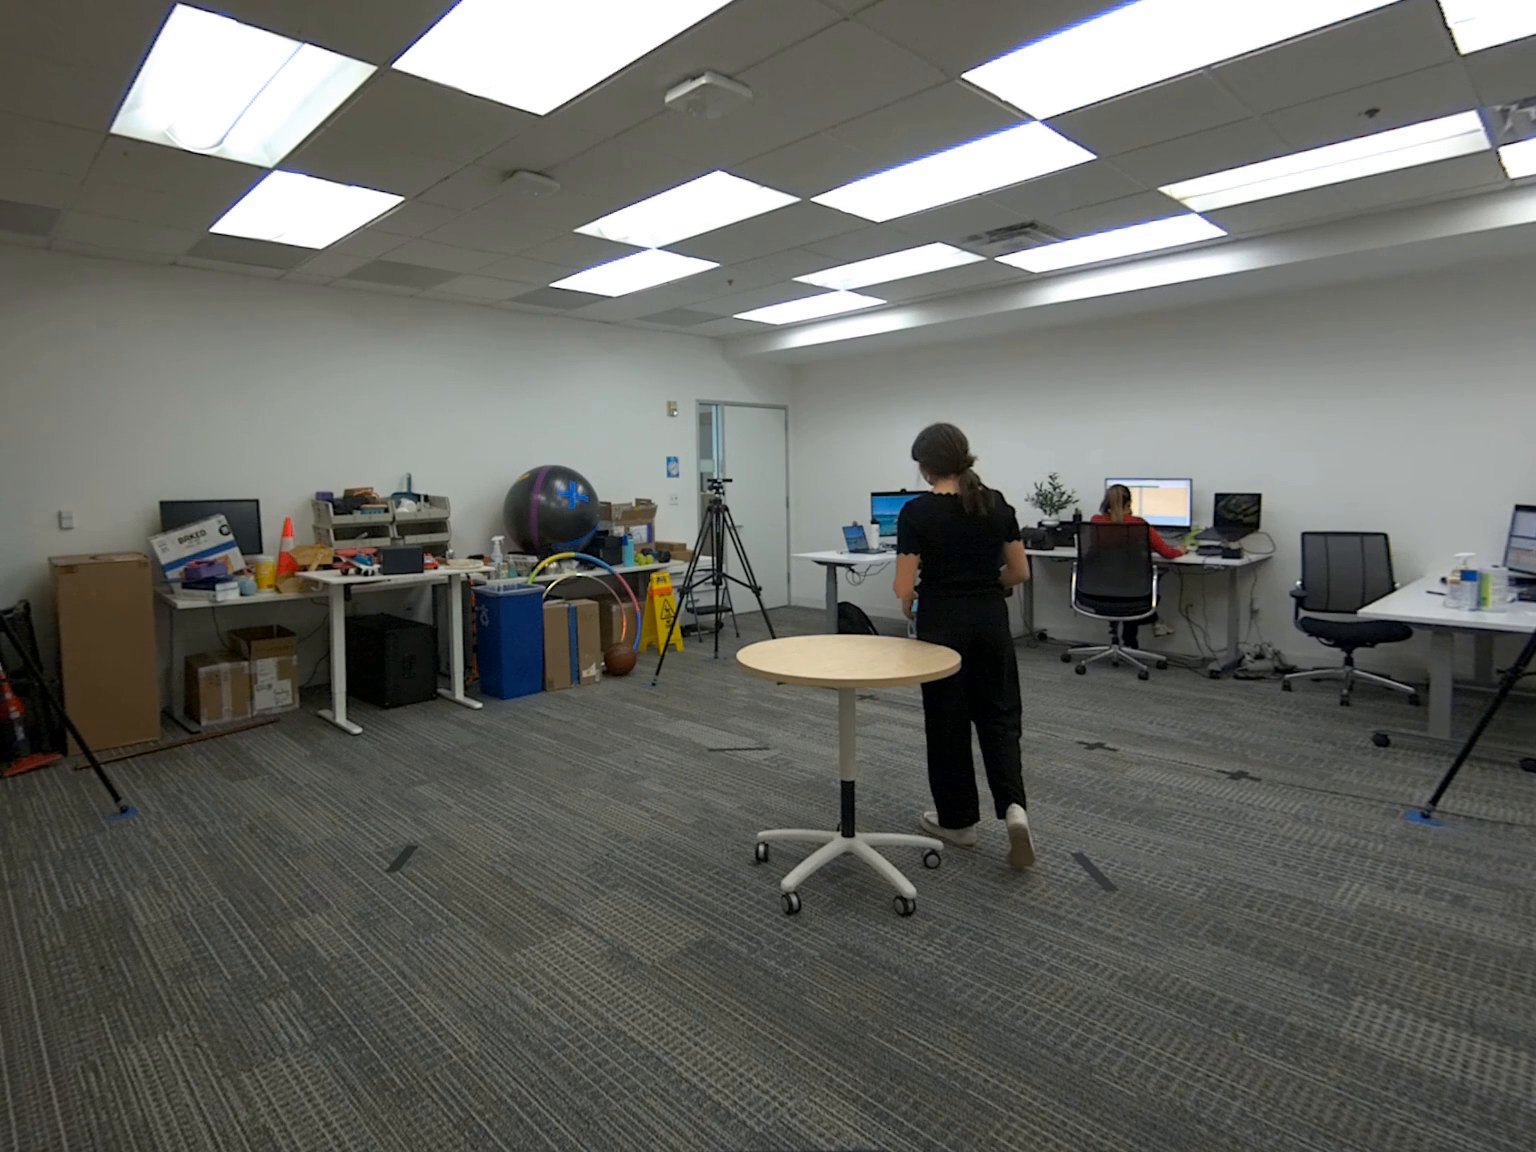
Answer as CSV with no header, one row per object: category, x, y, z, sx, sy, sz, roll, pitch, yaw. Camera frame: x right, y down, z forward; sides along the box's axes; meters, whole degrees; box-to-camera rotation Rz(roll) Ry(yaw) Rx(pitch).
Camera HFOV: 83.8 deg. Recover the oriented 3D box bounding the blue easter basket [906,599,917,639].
blue easter basket,0.687,0.181,3.458,0.244,0.155,0.245,-15,8,0
